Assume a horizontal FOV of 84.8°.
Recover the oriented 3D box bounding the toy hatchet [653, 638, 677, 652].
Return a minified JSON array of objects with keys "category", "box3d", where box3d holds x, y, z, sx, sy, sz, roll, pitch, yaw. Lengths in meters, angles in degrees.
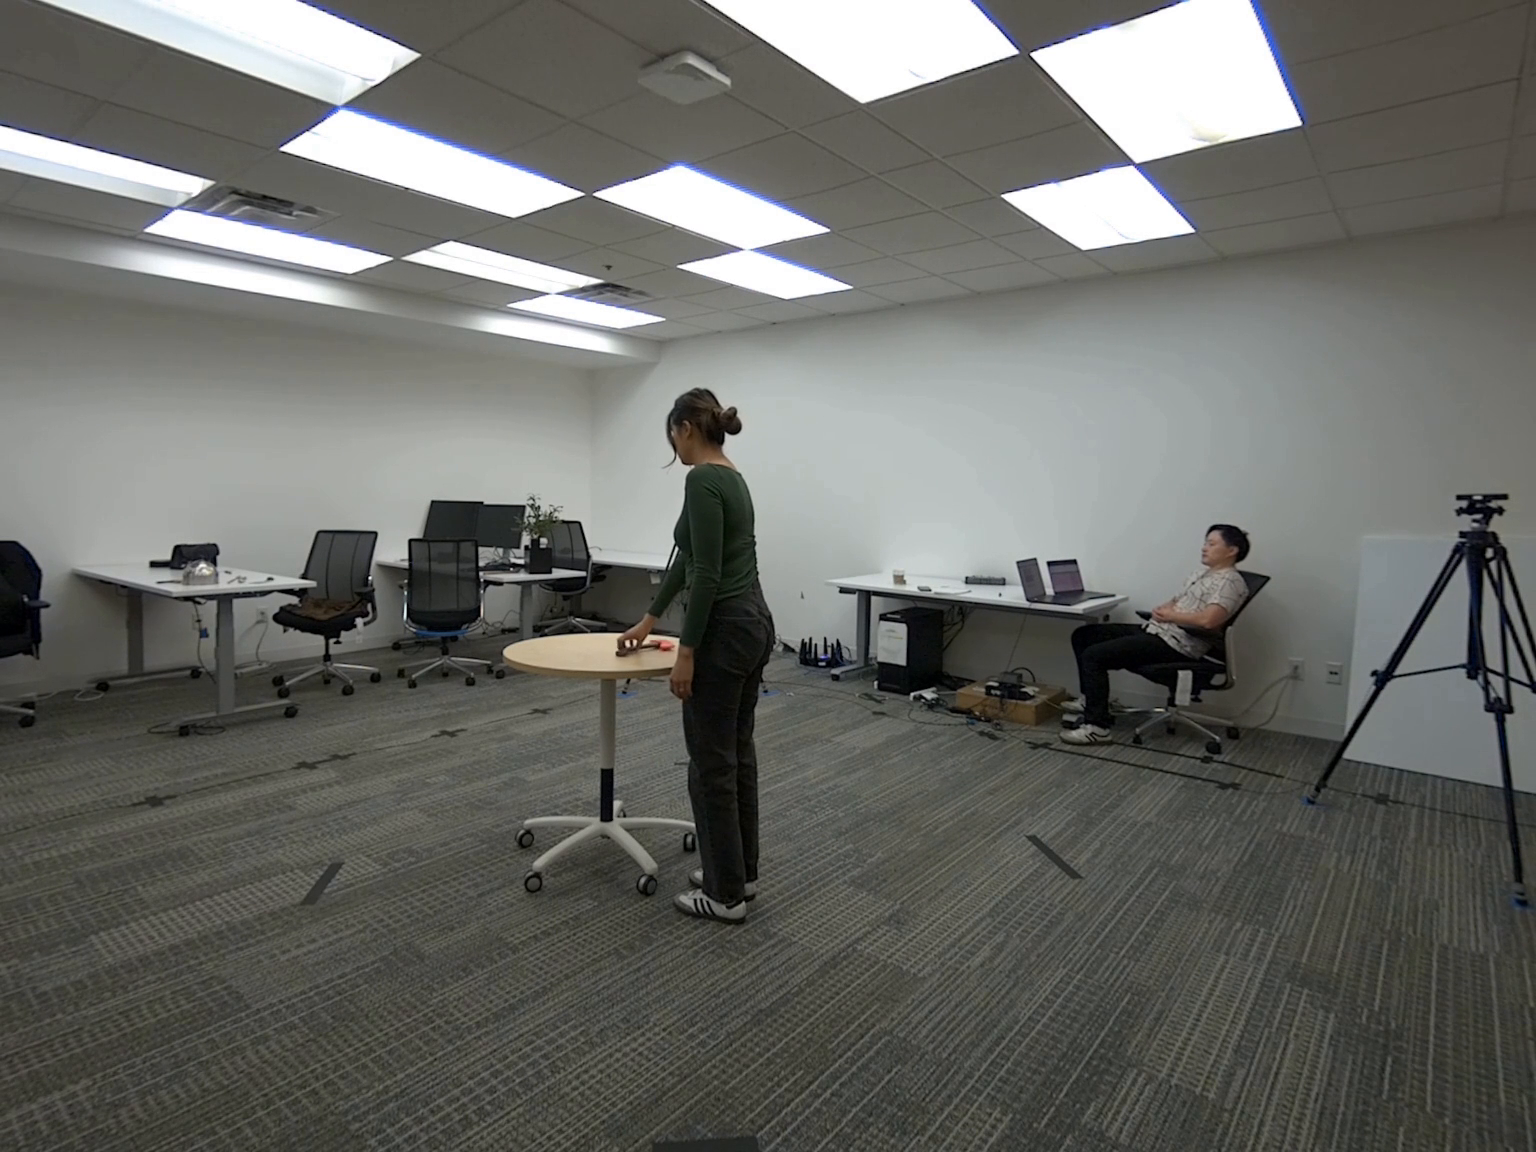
[{"category":"toy hatchet","box3d":[-0.451,0.269,3.130,0.134,0.029,0.265,6,9,22]}]
